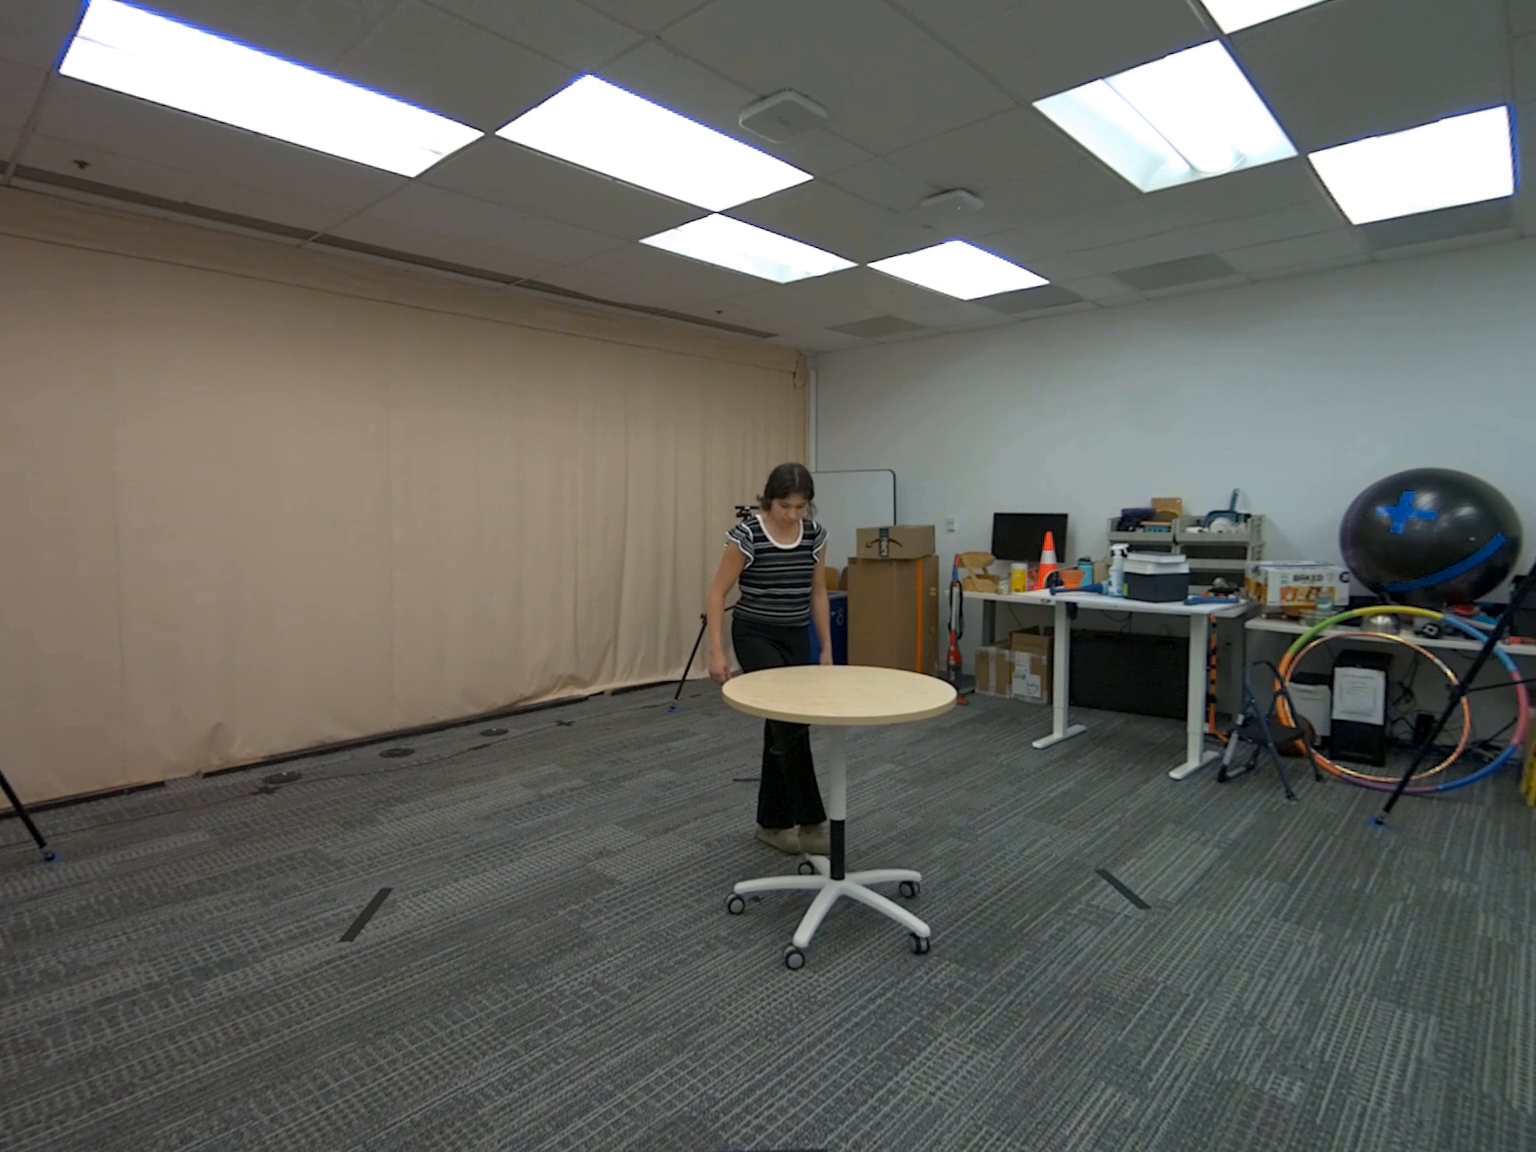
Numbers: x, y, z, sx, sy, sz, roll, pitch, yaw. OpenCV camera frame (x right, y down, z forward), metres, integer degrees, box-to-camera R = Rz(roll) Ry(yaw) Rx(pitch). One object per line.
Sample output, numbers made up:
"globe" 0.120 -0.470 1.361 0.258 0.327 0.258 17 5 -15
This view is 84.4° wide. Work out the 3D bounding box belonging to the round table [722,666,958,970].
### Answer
"round table" 0.247 0.761 2.825 0.784 0.785 0.788 -1 4 -2
